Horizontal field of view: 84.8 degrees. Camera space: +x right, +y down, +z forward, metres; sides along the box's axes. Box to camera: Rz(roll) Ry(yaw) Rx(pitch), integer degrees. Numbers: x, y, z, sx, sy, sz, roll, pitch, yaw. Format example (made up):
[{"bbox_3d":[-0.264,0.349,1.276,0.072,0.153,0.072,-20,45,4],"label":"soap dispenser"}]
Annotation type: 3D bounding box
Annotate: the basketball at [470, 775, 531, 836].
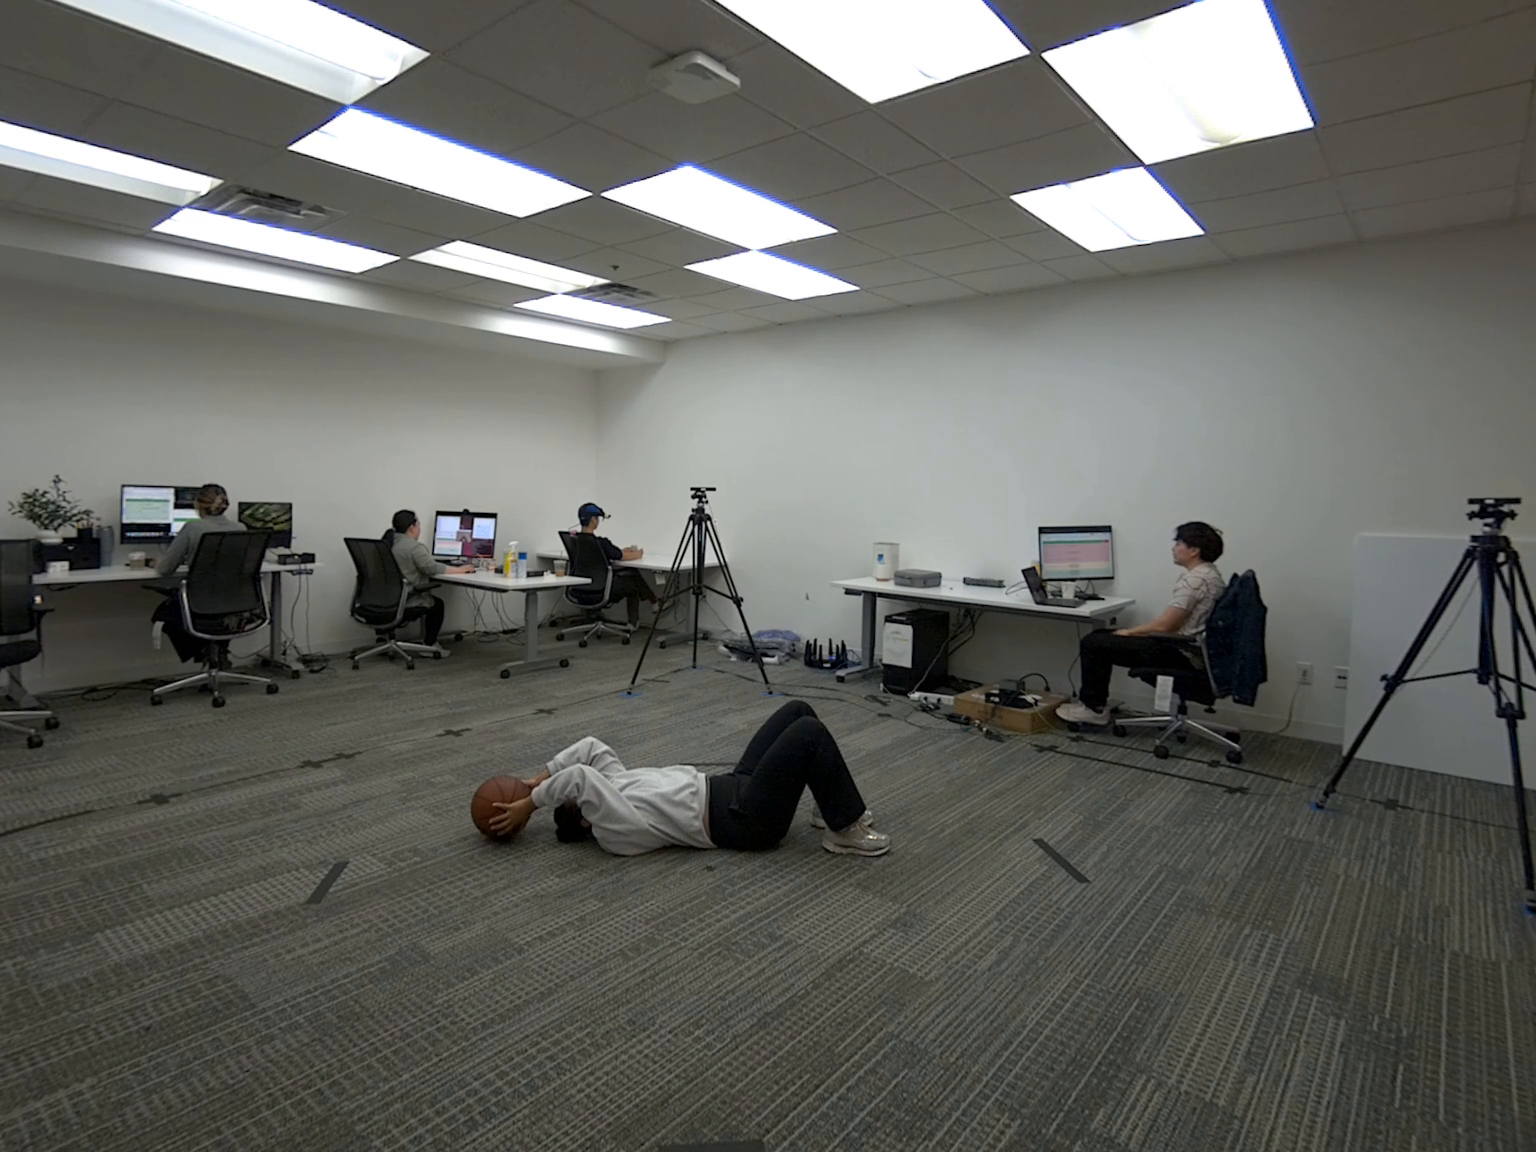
[{"bbox_3d":[-1.066,0.894,3.355,0.235,0.235,0.237,1,4,-2],"label":"basketball"}]
